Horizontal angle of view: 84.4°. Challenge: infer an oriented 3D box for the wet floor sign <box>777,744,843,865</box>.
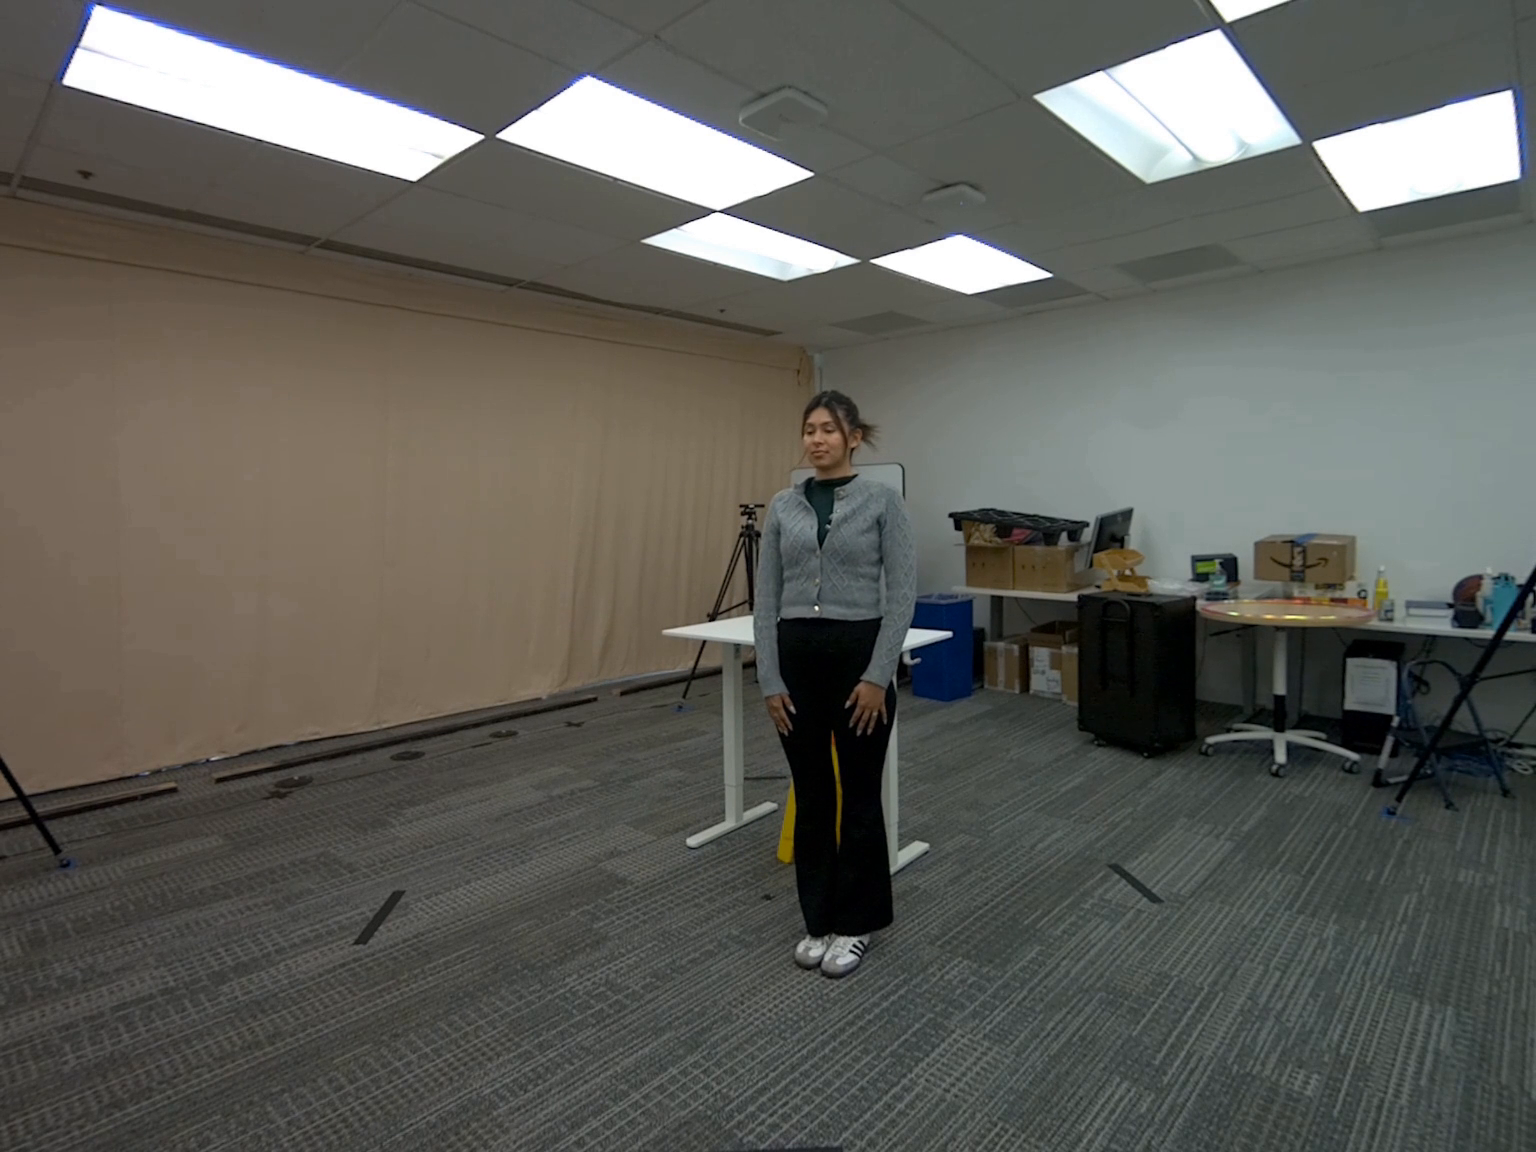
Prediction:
[{"bbox_3d":[0.234,0.786,3.267,0.281,0.645,0.291,-2,4,-36],"label":"wet floor sign"}]
